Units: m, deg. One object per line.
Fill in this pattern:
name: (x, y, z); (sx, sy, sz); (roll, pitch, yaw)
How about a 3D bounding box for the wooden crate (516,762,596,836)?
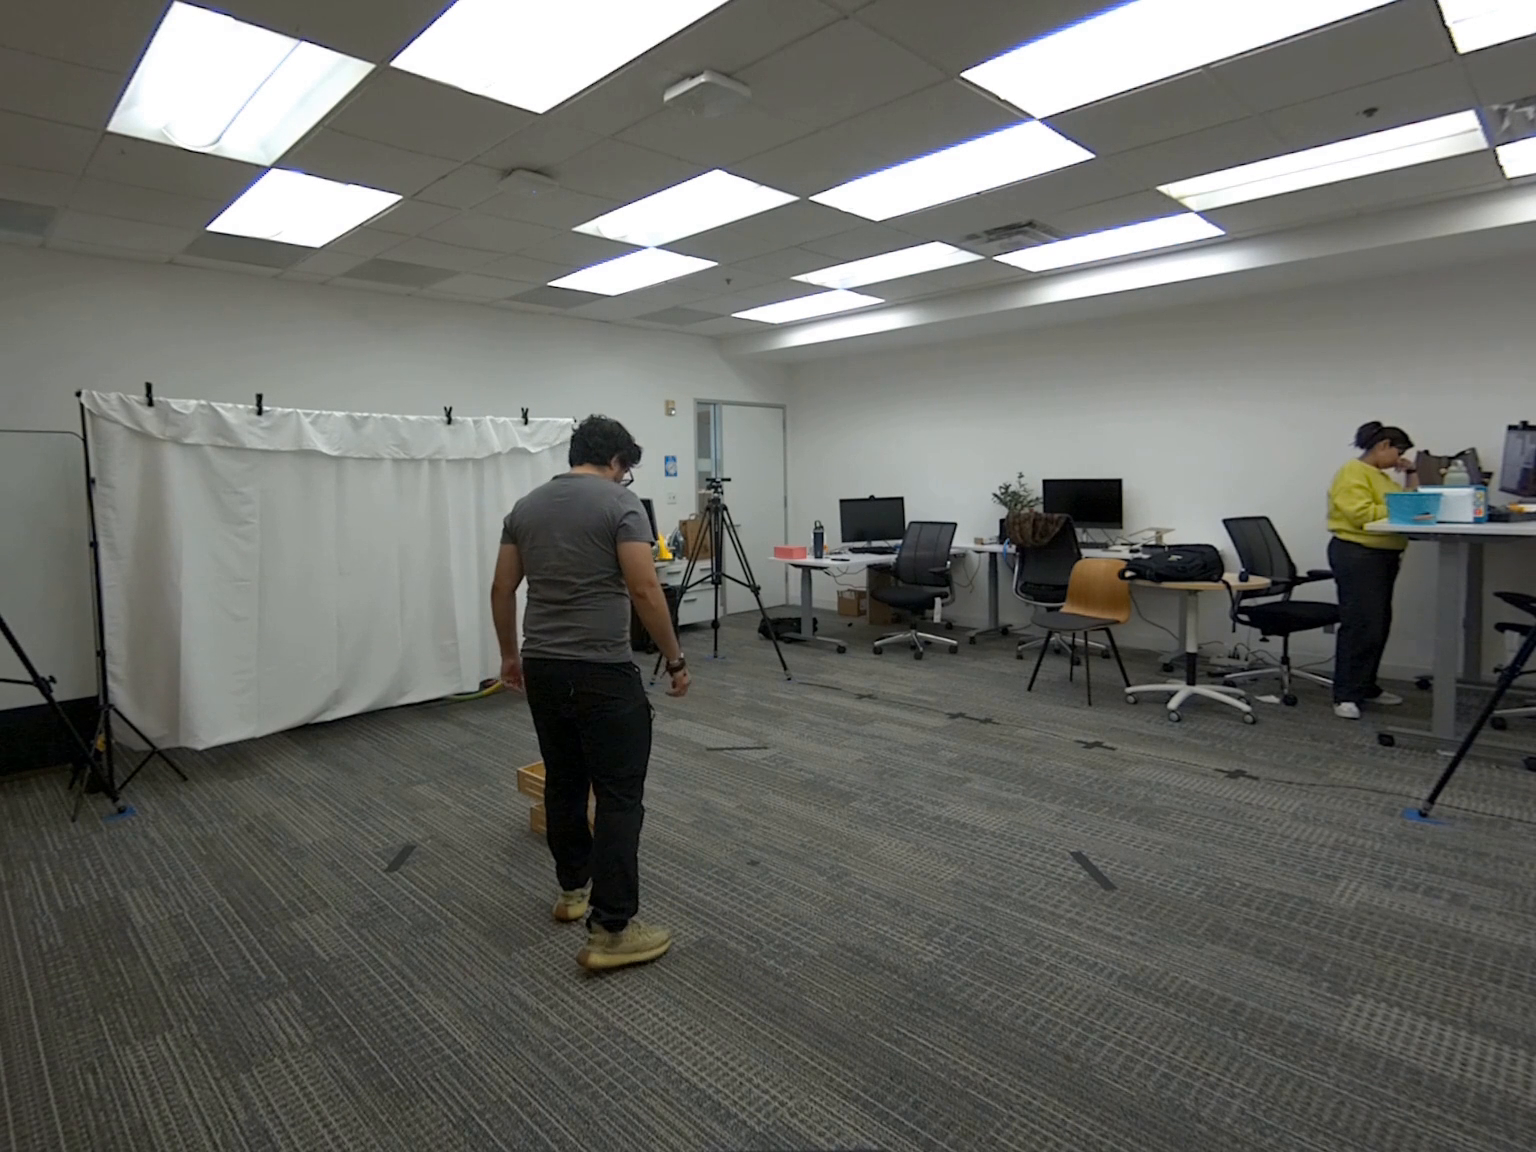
wooden crate: (-0.783, 0.888, 3.411); (0.334, 0.272, 0.294); (4, 8, 44)
